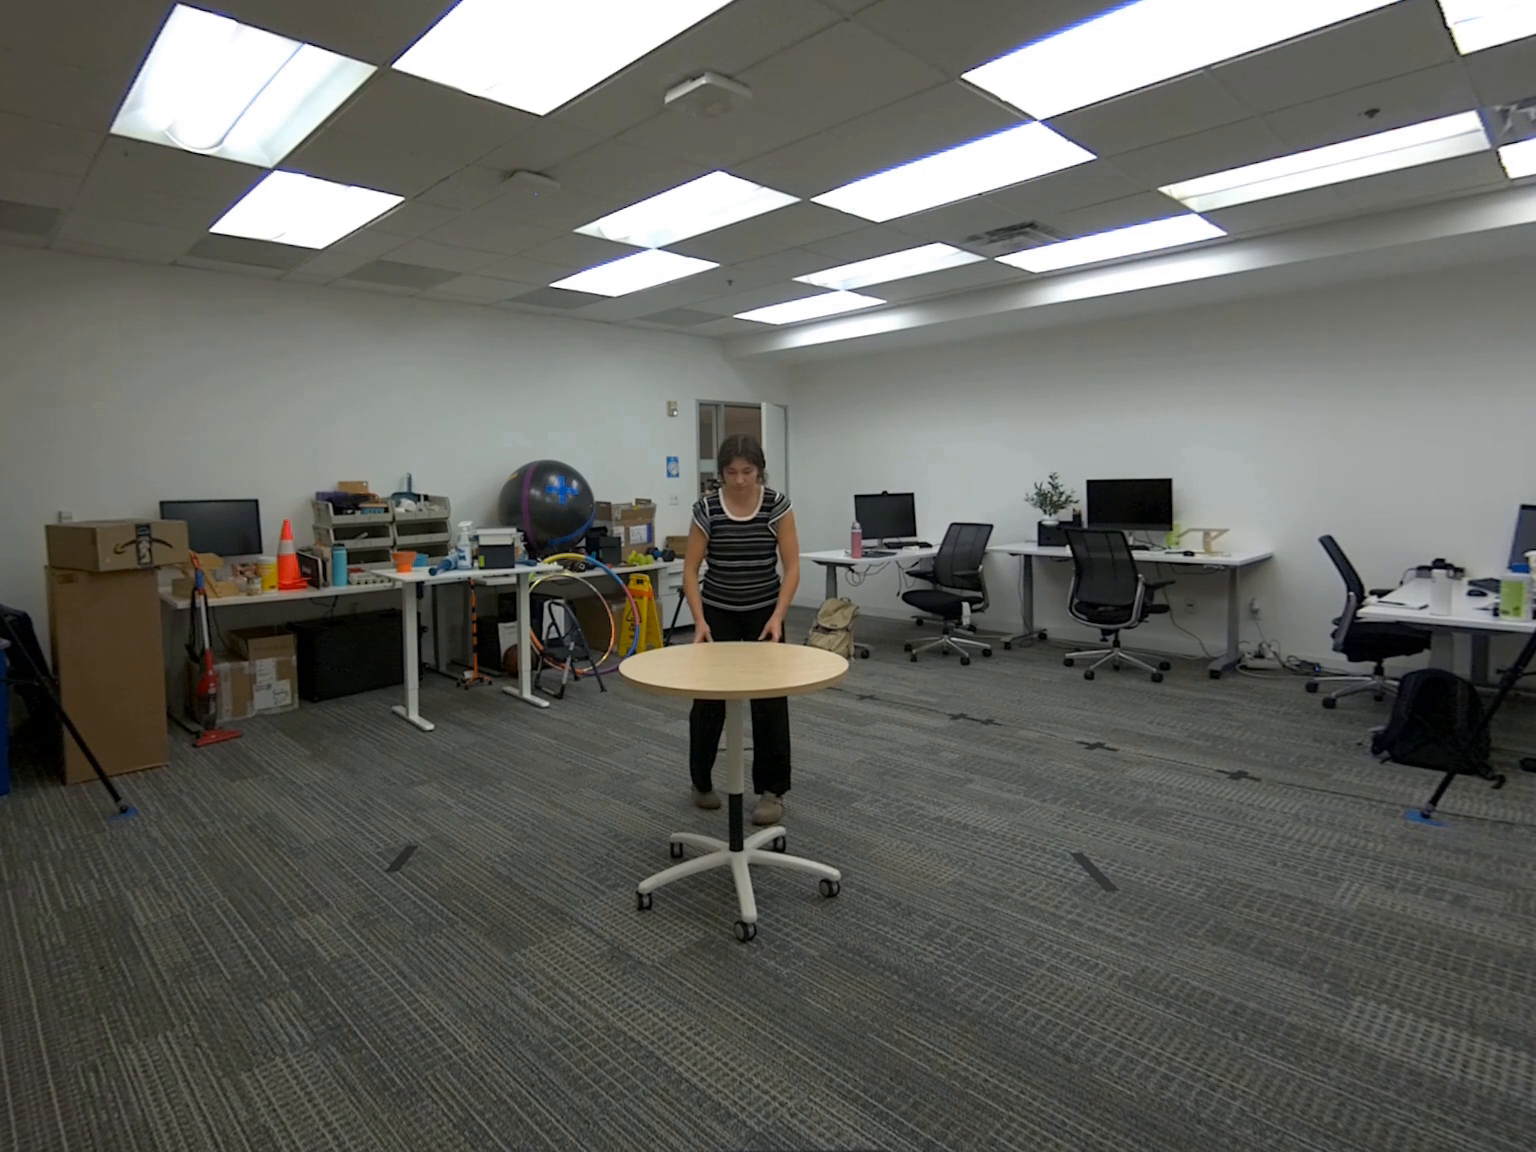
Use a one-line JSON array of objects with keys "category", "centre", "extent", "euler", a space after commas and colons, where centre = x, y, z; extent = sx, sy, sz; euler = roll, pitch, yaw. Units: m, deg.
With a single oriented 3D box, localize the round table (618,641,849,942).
[{"category": "round table", "centre": [-0.108, 0.688, 2.888], "extent": [0.763, 0.791, 0.768], "euler": [-1, 5, -2]}]
